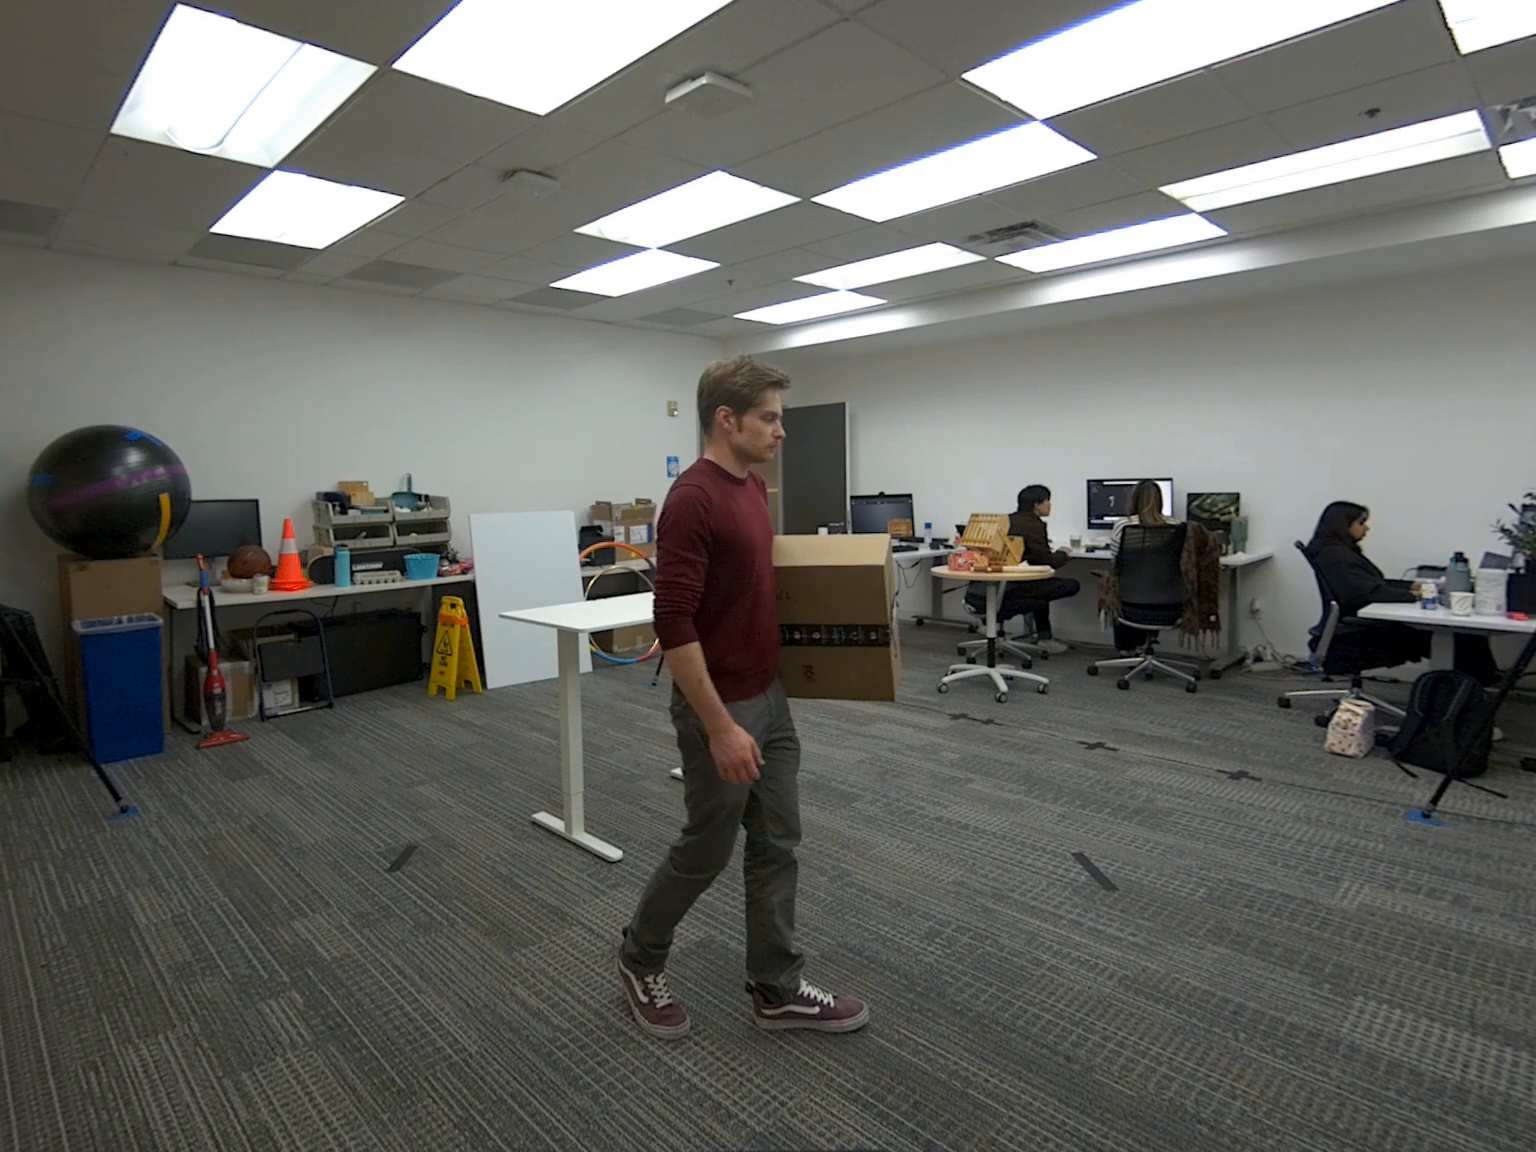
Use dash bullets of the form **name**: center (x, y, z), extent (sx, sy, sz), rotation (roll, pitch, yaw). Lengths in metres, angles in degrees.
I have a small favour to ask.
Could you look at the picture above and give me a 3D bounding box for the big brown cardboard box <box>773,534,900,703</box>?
- **big brown cardboard box**: center (0.071, 0.115, 2.431), extent (0.599, 0.409, 0.234), rotation (-1, 23, 18)
